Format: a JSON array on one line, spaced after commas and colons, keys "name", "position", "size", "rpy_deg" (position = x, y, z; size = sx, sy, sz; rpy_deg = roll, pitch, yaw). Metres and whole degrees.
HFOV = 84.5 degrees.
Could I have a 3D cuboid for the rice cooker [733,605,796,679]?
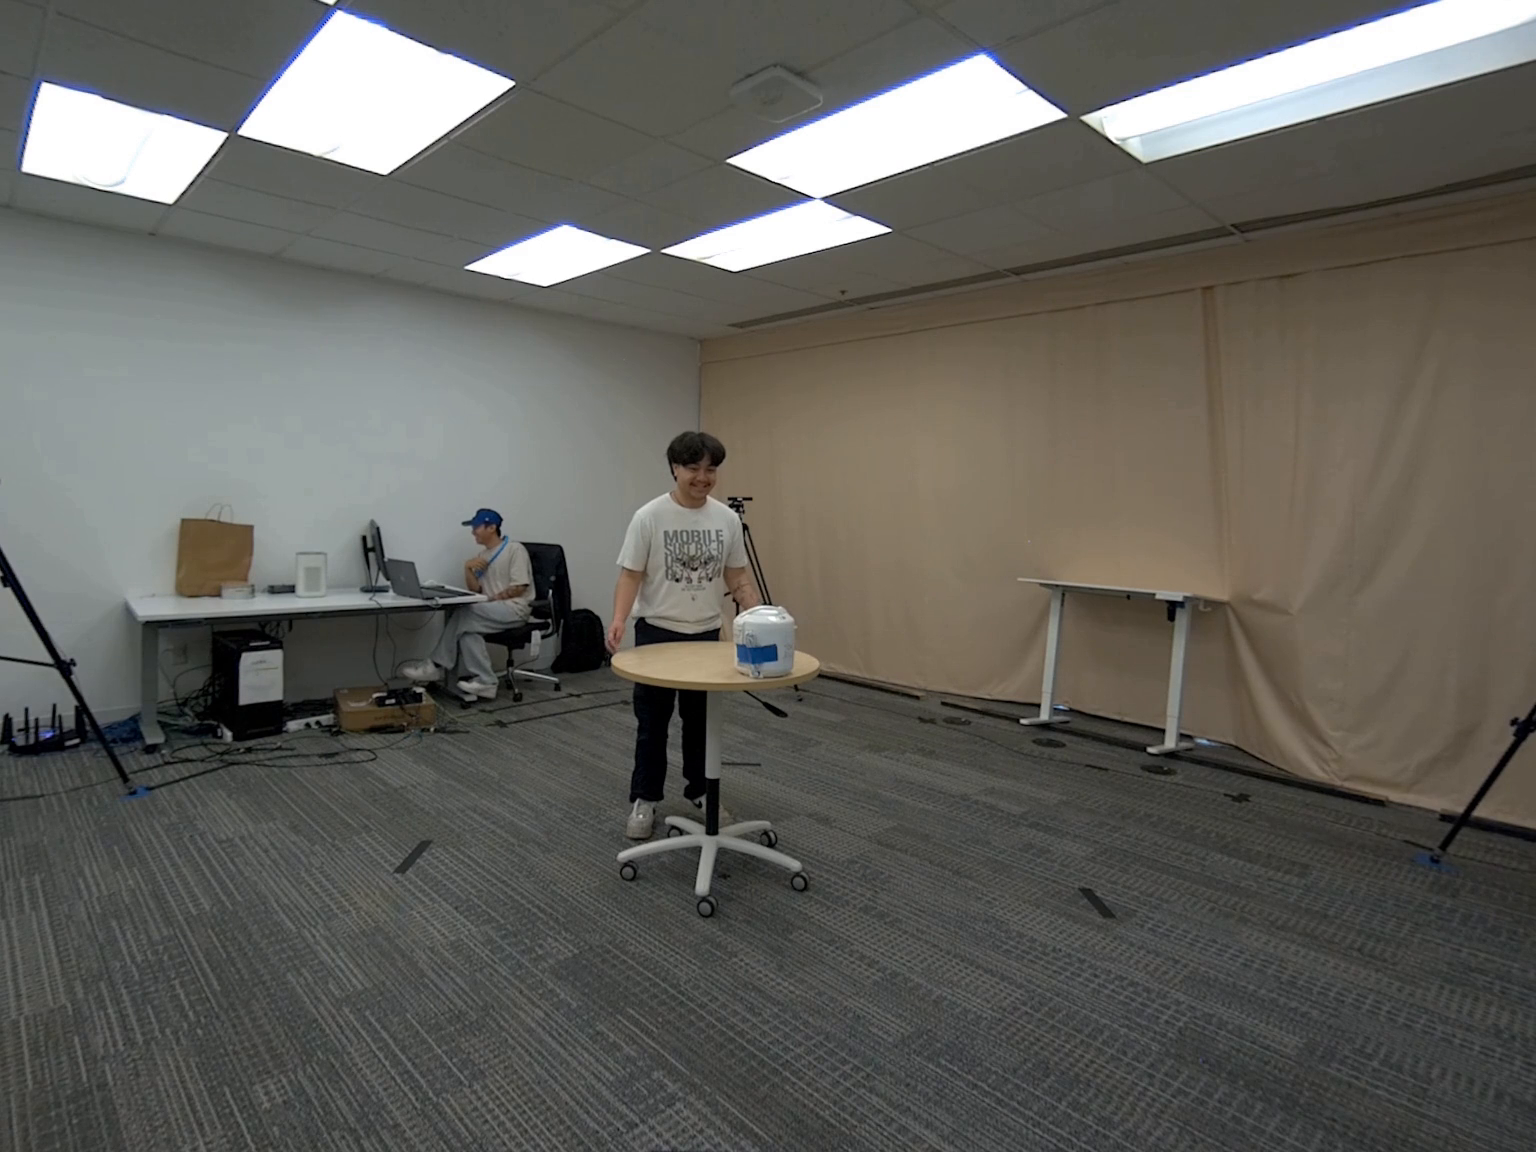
[{"name": "rice cooker", "position": [-0.020, 0.218, 2.882], "size": [0.216, 0.232, 0.222], "rpy_deg": [1, 5, -26]}]
